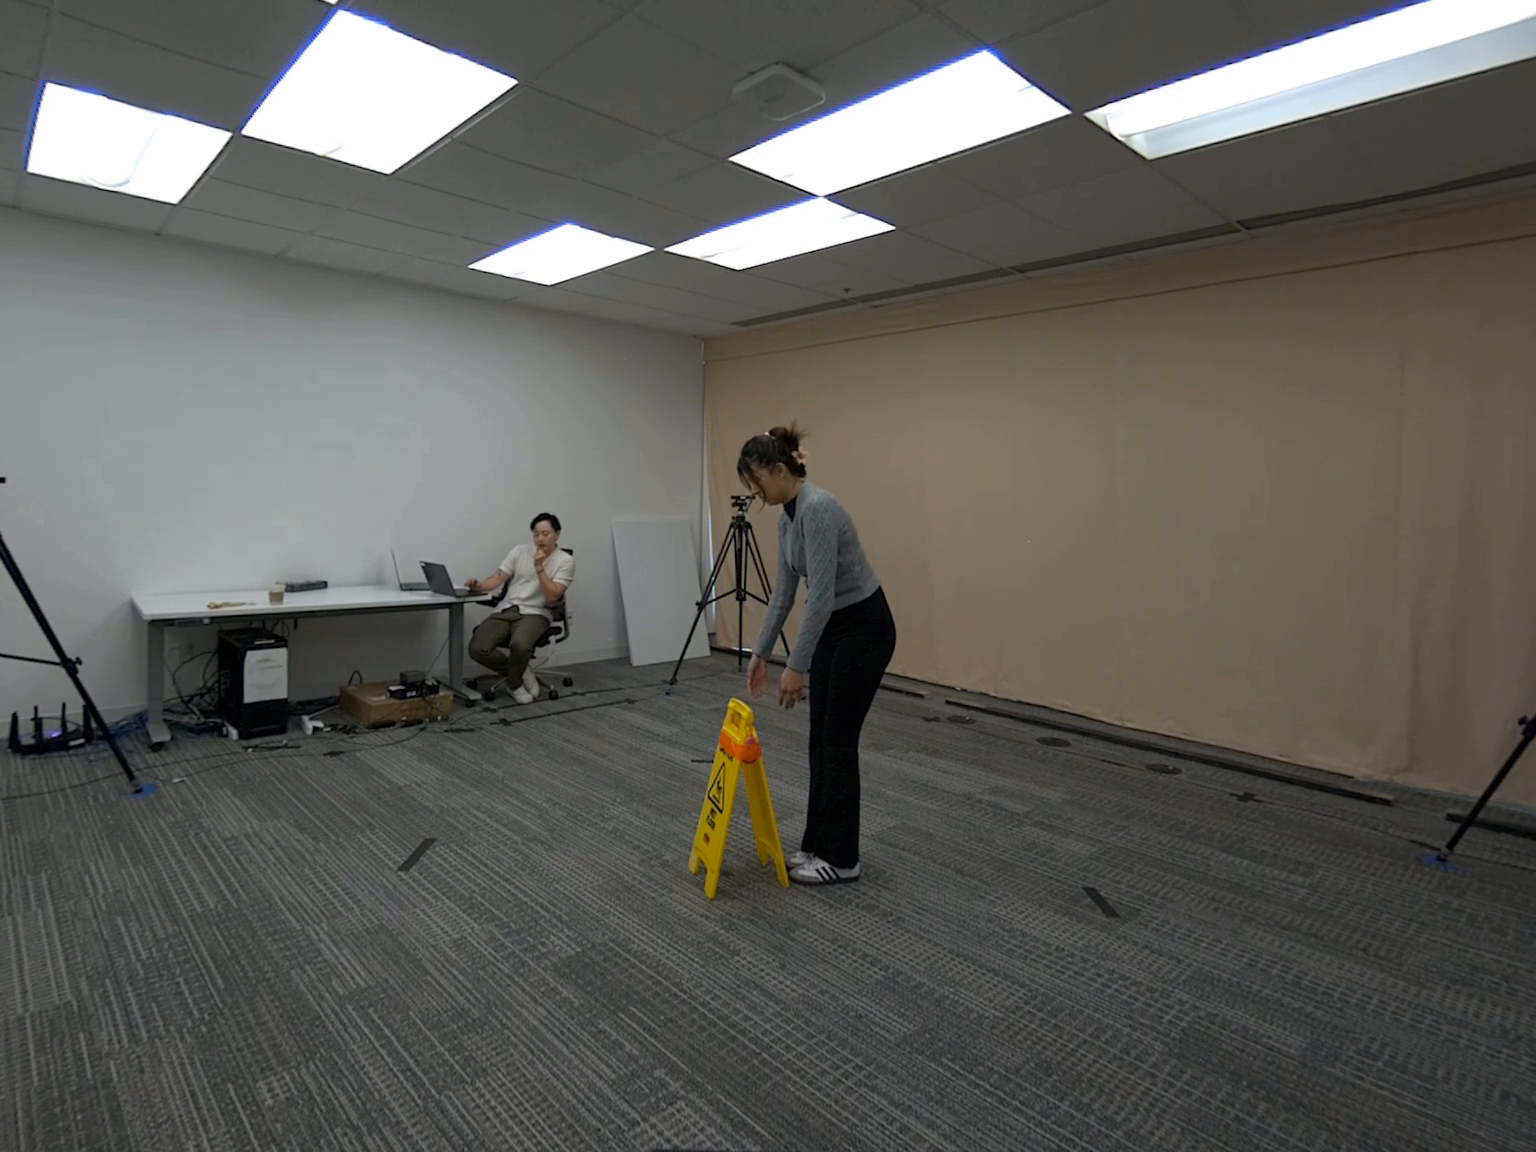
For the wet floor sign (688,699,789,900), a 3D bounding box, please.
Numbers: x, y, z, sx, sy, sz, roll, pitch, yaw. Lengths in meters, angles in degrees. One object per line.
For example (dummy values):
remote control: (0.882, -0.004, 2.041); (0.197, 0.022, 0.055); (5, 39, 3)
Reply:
wet floor sign: (-0.112, 0.781, 3.059); (0.285, 0.645, 0.287); (-1, 2, -20)
